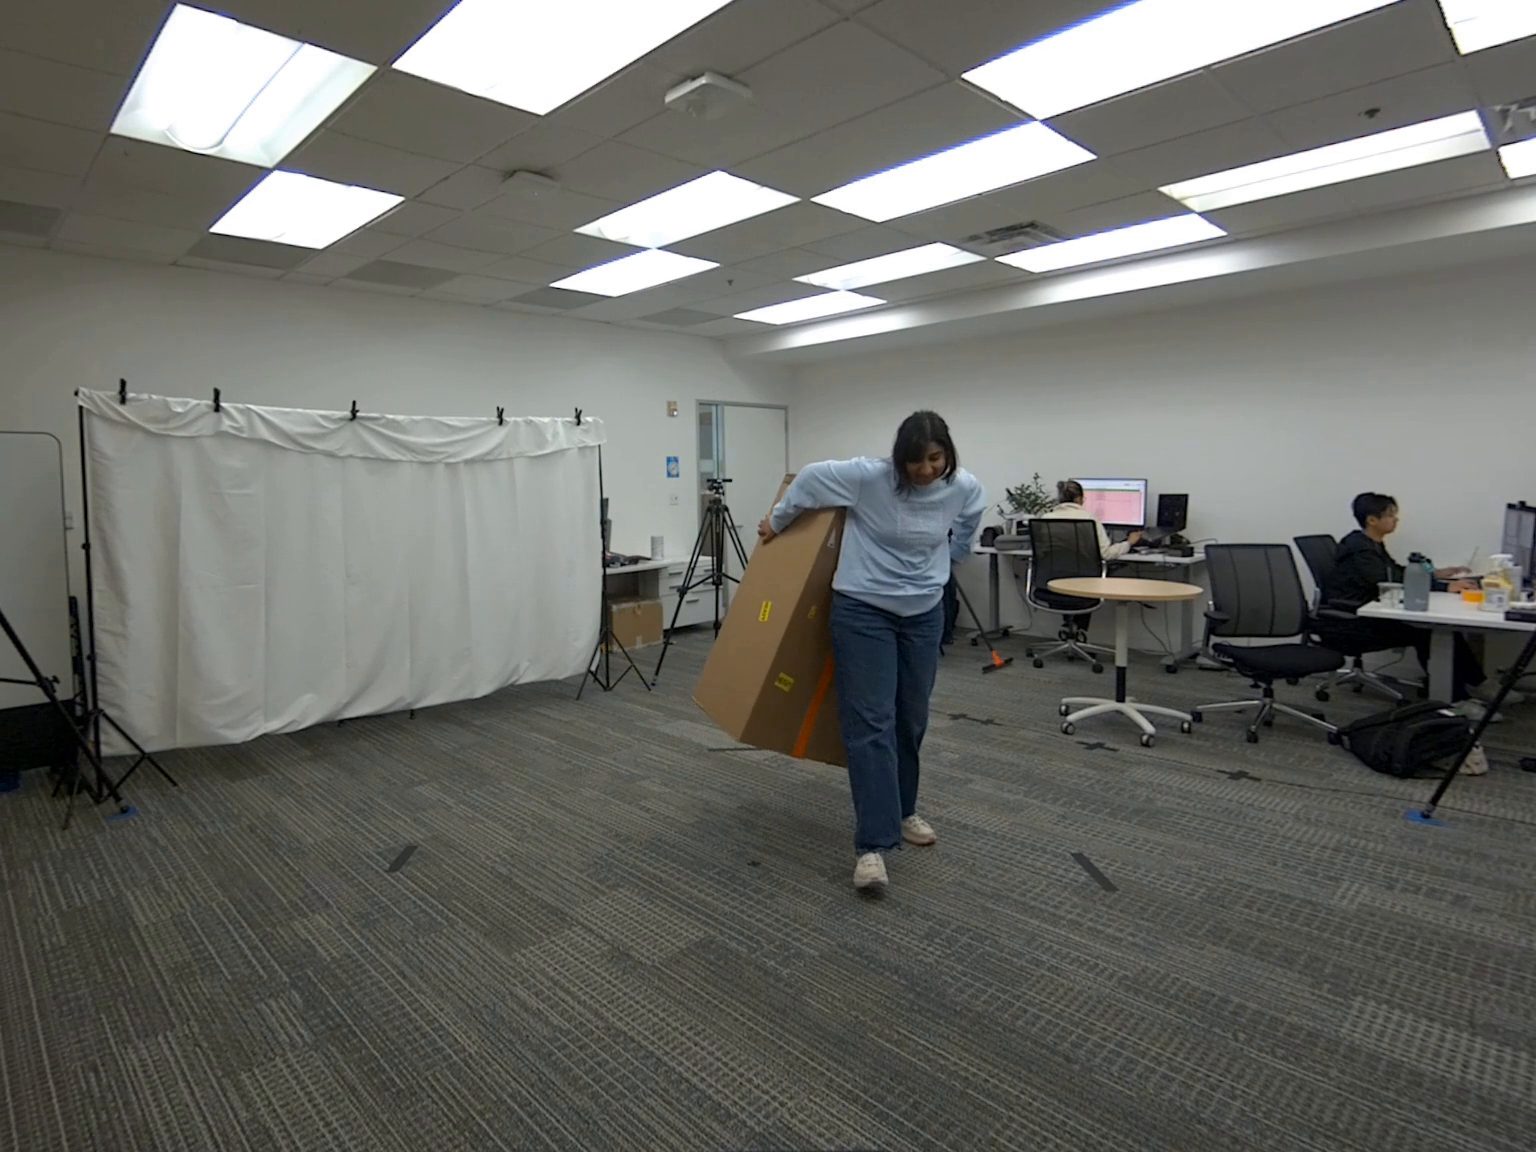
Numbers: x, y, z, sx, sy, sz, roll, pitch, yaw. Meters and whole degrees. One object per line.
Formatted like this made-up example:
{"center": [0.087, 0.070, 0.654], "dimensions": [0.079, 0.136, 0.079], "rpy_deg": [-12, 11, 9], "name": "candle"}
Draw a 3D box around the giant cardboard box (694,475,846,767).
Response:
{"center": [0.190, 0.184, 3.476], "dimensions": [0.559, 1.025, 0.441], "rpy_deg": [22, 2, -32], "name": "giant cardboard box"}
